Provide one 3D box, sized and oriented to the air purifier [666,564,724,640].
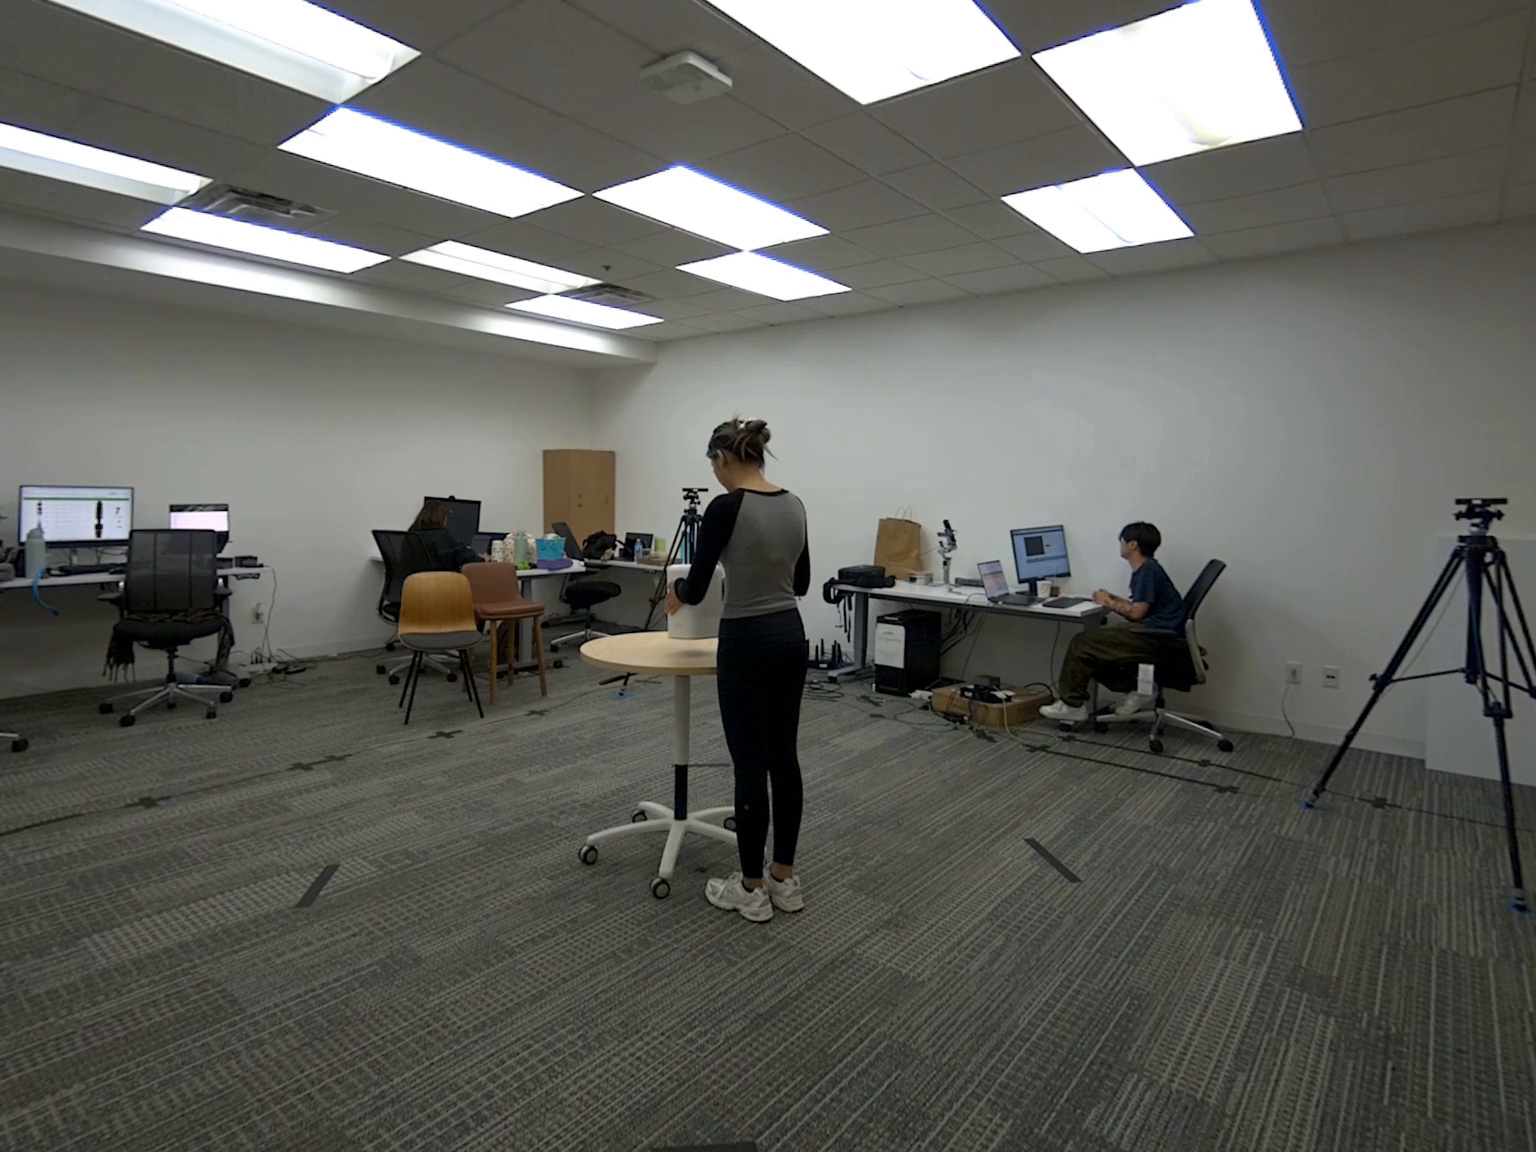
[{"bbox_3d":[-0.273,0.083,3.075,0.176,0.265,0.166,-1,1,37],"label":"air purifier"}]
